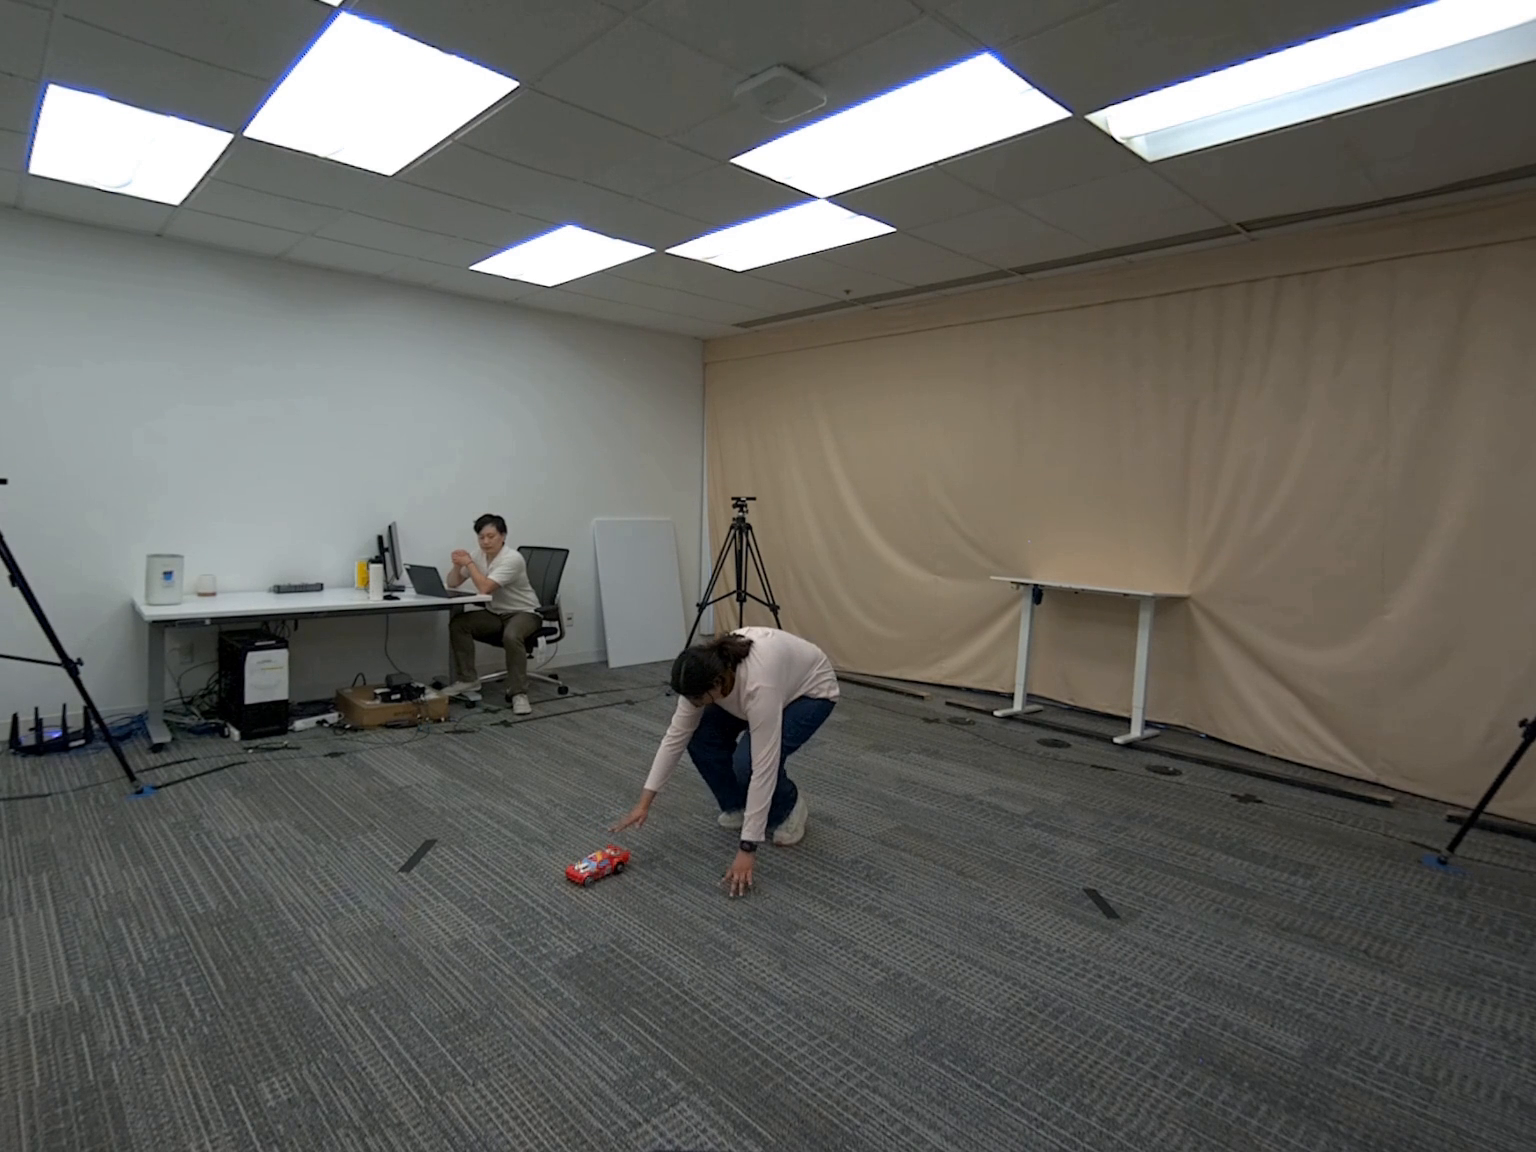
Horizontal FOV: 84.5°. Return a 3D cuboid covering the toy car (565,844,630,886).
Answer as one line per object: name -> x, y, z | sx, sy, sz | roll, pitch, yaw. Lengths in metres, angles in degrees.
toy car -> -0.630, 1.065, 3.091 | 0.133, 0.082, 0.251 | 5, 16, 39
